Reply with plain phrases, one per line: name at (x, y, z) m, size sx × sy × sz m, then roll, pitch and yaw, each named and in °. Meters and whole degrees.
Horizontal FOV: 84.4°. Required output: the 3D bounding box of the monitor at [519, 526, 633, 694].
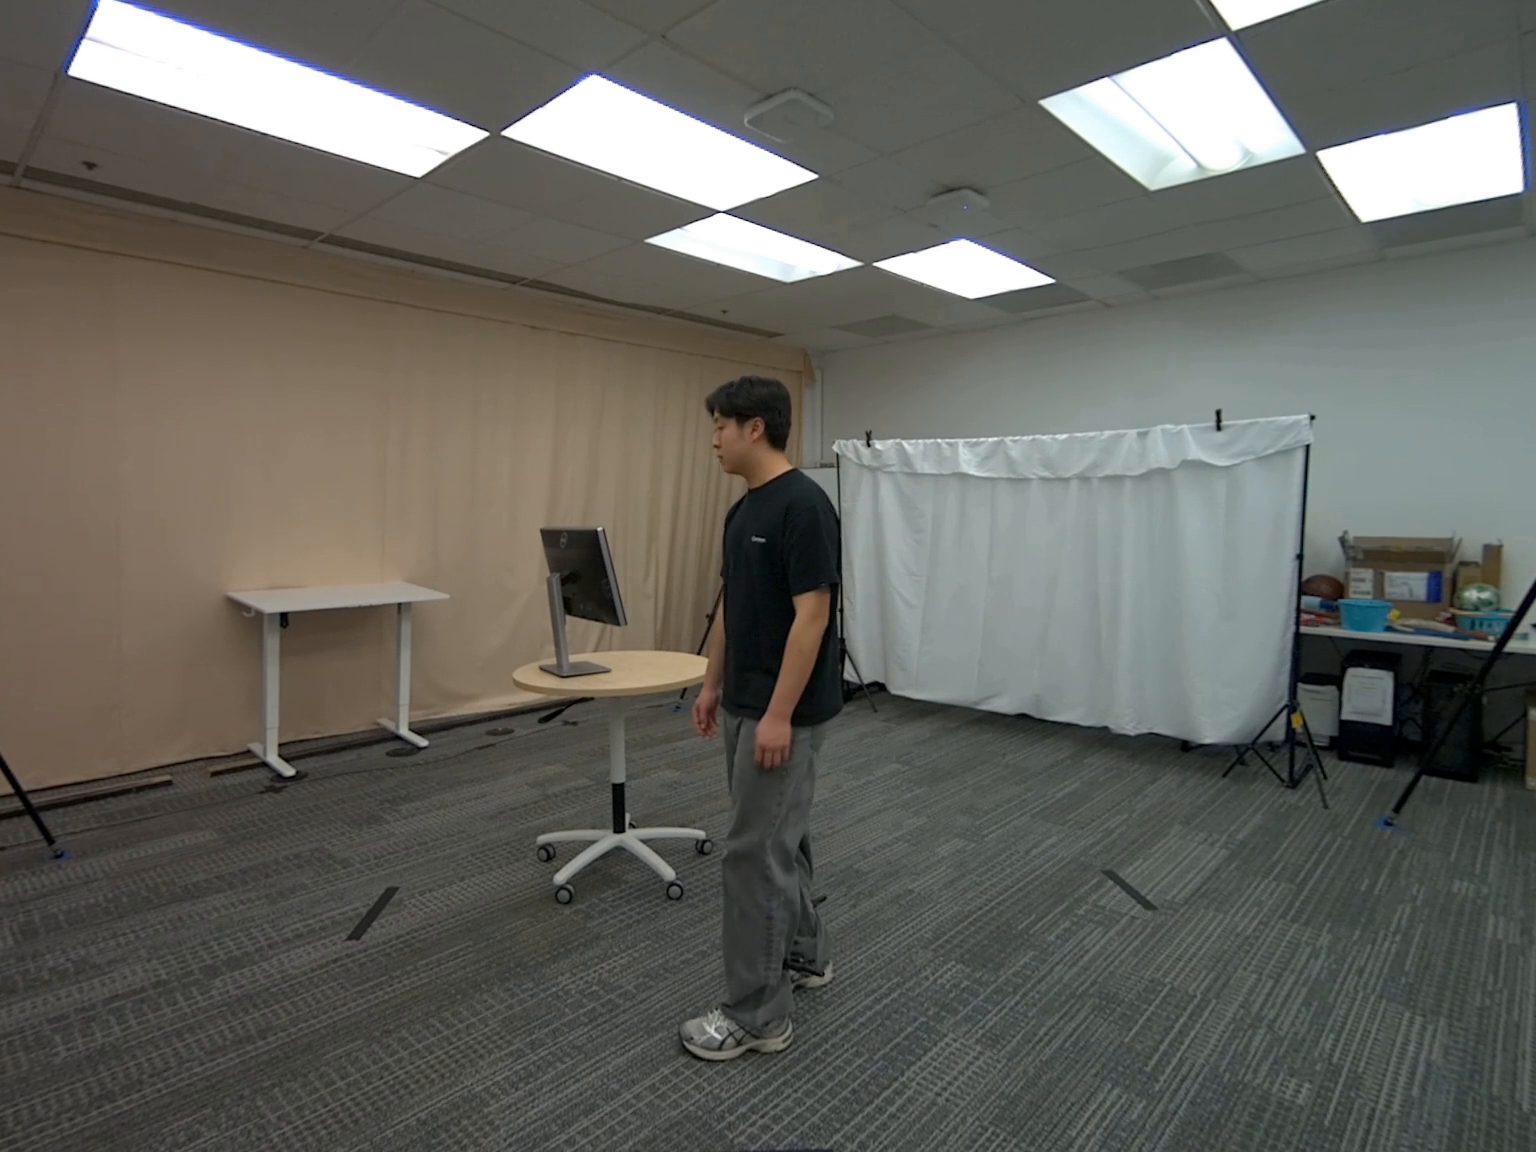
monitor at (-0.734, 0.098, 3.173) m, size 0.216 × 0.565 × 0.579 m, roll 0°, pitch 2°, yaw -33°
